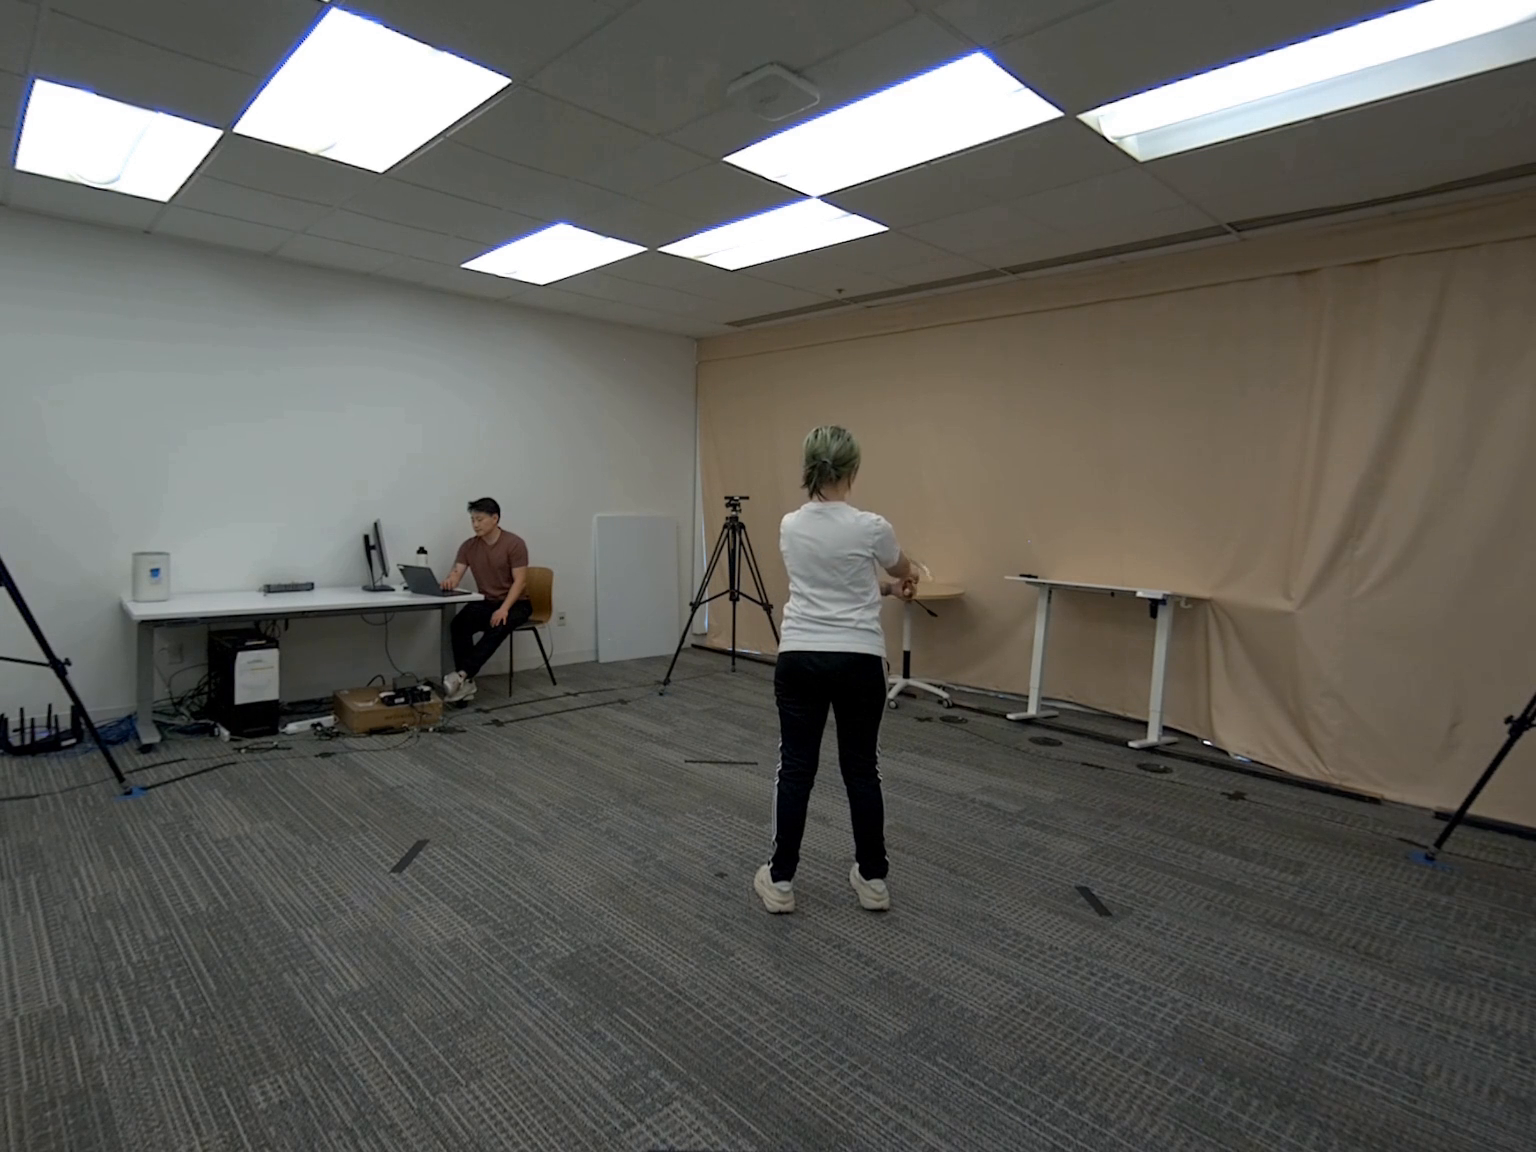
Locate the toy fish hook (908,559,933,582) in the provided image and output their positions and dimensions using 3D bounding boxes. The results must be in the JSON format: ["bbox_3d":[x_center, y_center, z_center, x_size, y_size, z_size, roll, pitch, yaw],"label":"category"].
[{"bbox_3d":[0.595,0.014,3.387,0.223,0.048,0.512,27,24,-7],"label":"toy fish hook"}]
